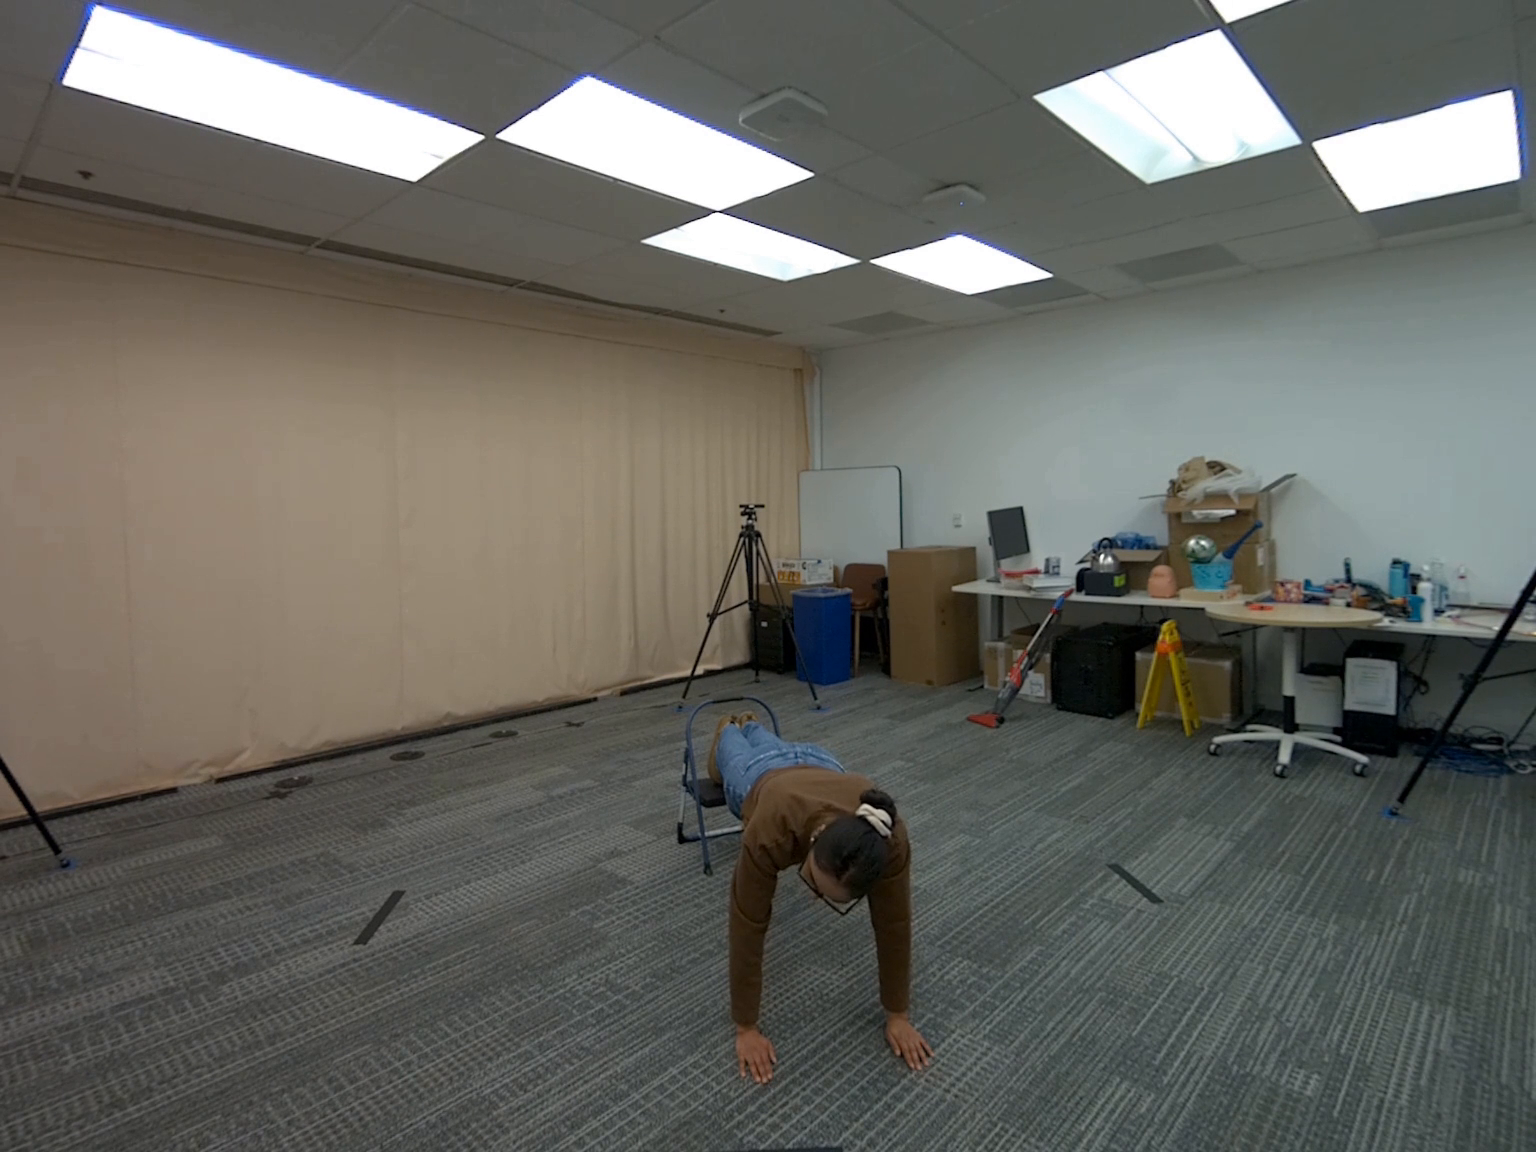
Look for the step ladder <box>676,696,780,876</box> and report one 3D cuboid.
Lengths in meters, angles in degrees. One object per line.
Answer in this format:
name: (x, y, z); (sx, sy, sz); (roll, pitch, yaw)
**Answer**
step ladder: (-0.122, 0.804, 3.398); (0.421, 0.605, 0.358); (-3, 4, -25)
